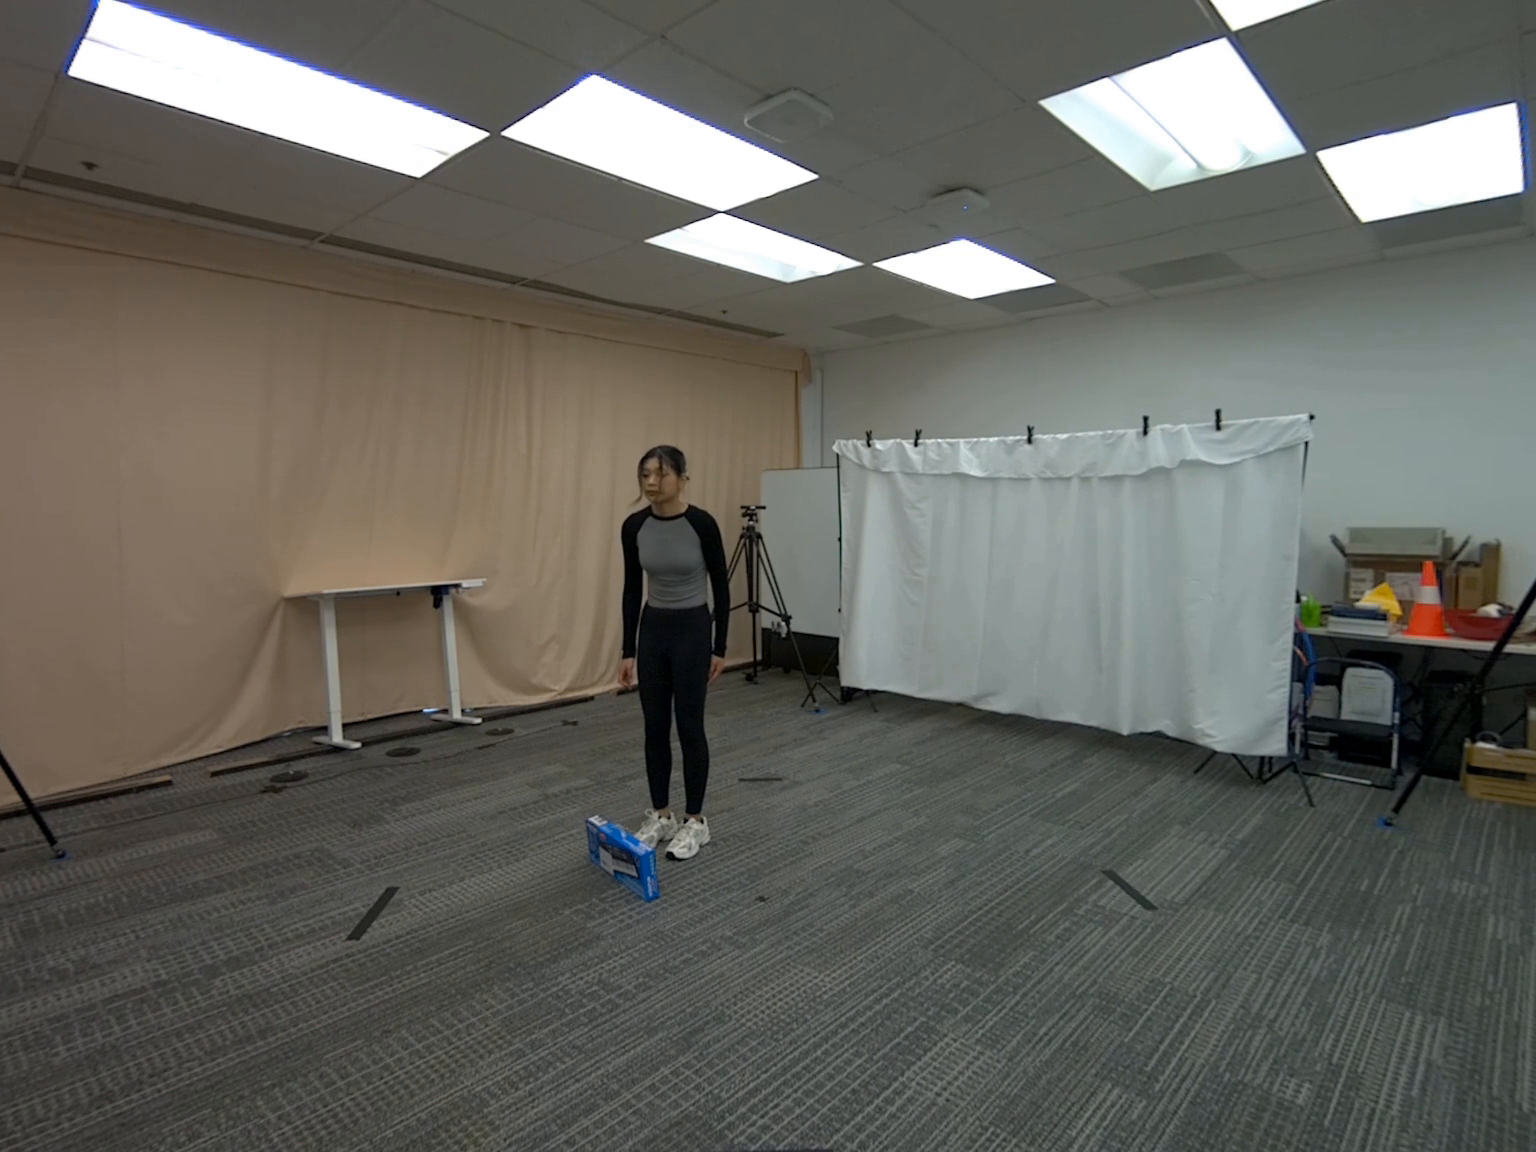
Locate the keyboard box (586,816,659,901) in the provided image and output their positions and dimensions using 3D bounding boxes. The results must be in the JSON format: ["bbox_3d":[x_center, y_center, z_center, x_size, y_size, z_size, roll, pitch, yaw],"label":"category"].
[{"bbox_3d":[-0.551,1.048,3.148,0.057,0.175,0.451,-9,8,-36],"label":"keyboard box"}]
